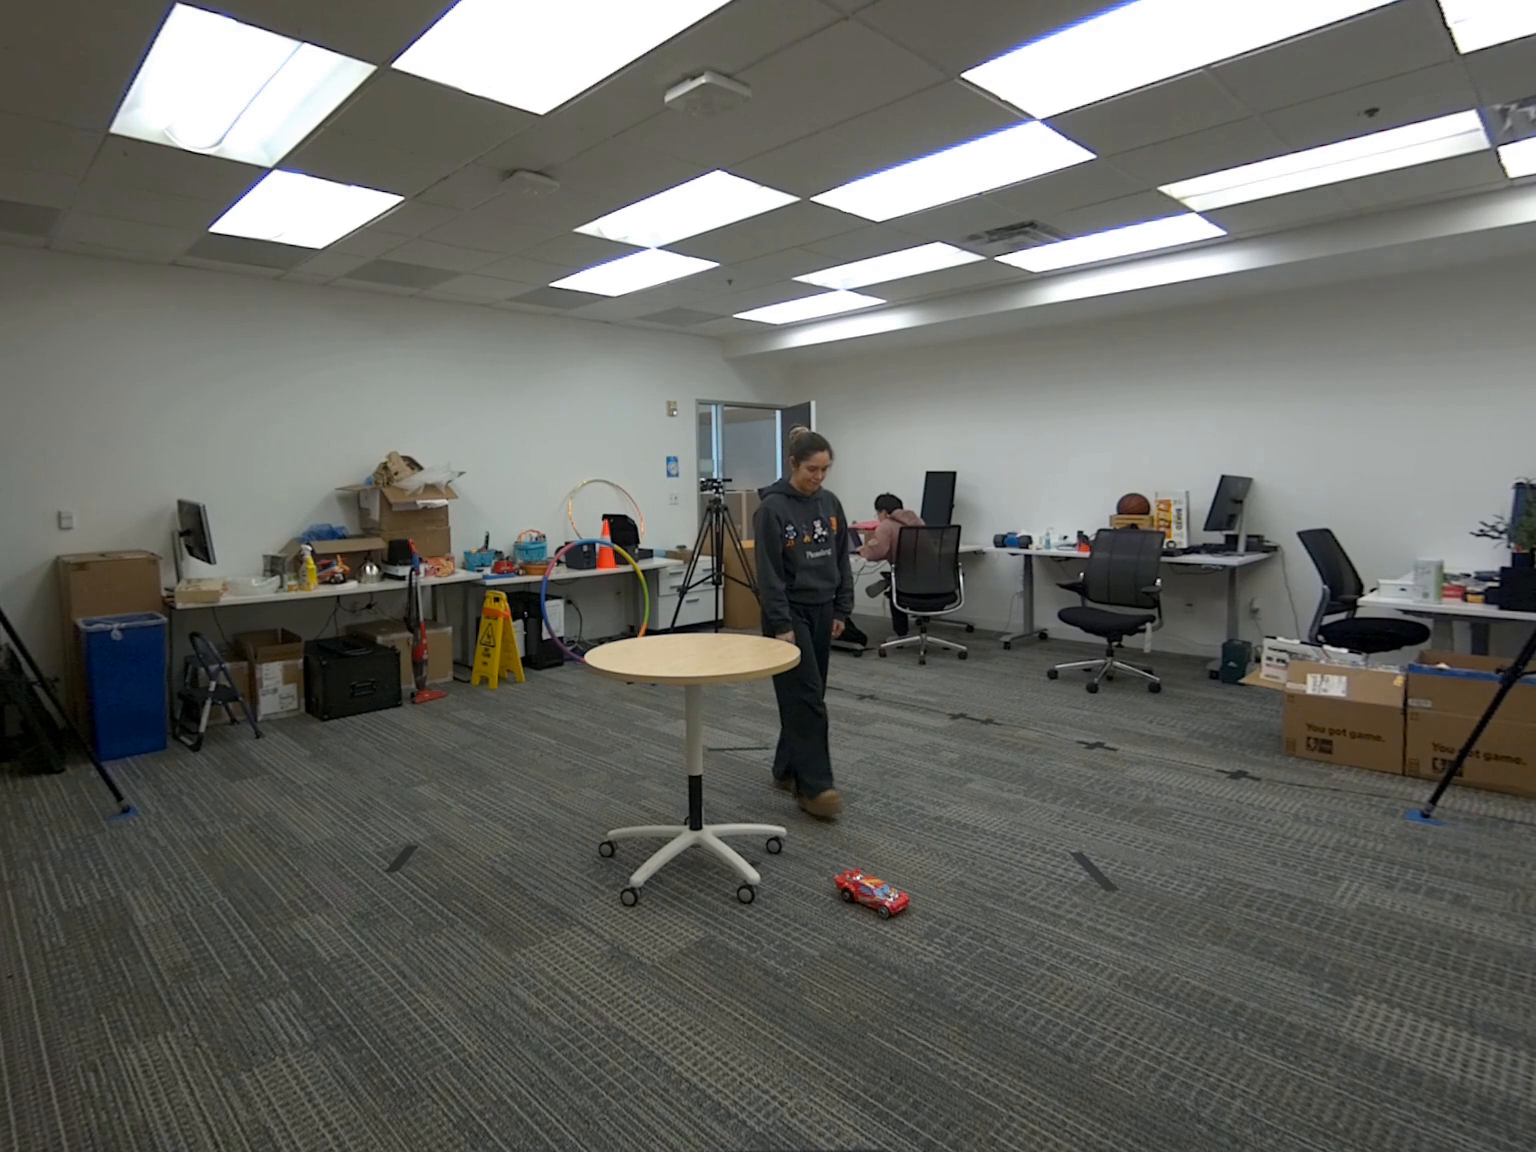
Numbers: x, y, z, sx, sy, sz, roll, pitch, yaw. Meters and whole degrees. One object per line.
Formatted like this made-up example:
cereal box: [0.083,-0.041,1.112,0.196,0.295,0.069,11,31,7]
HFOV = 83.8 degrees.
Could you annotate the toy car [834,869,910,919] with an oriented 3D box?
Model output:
toy car: [0.340,1.047,2.791,0.127,0.082,0.264,-8,19,-42]
